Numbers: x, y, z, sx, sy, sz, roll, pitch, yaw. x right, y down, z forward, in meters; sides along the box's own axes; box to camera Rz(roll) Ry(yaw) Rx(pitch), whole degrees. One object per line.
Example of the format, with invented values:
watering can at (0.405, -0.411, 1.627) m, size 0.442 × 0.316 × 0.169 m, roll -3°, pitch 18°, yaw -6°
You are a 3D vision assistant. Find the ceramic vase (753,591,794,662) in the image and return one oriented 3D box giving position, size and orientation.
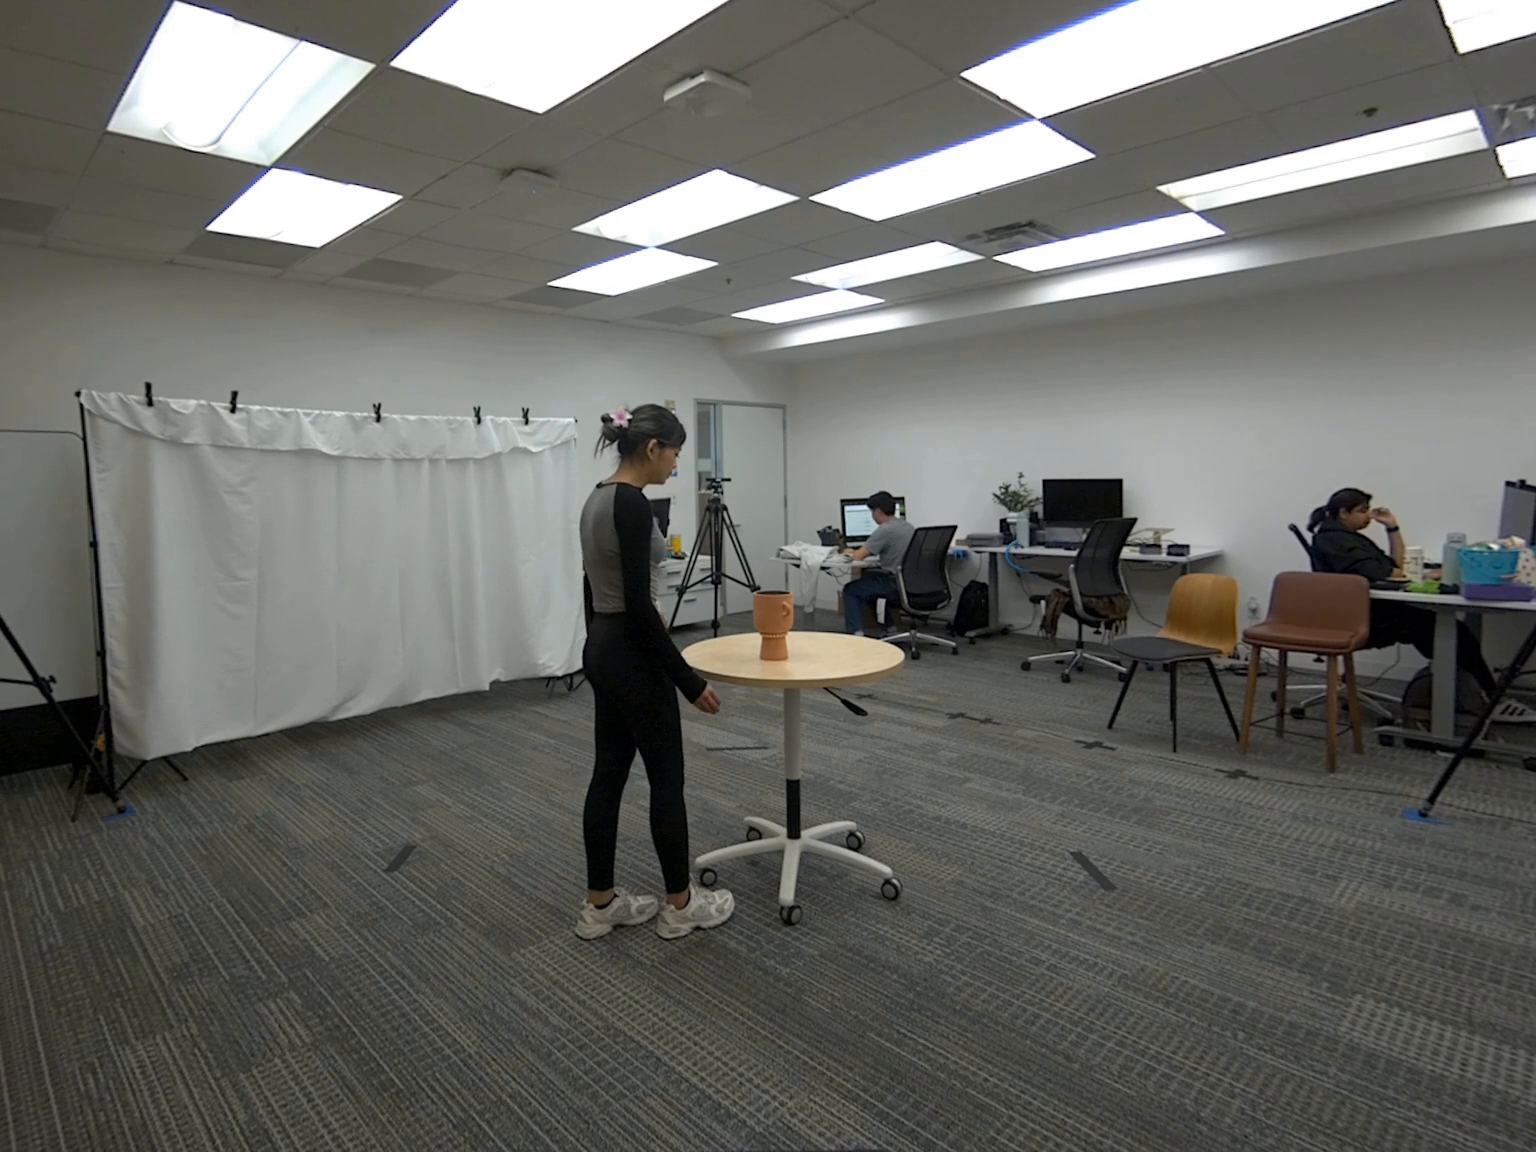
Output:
ceramic vase at (0.026, 0.167, 2.863) m, size 0.136 × 0.219 × 0.158 m, roll 0°, pitch 4°, yaw 8°
